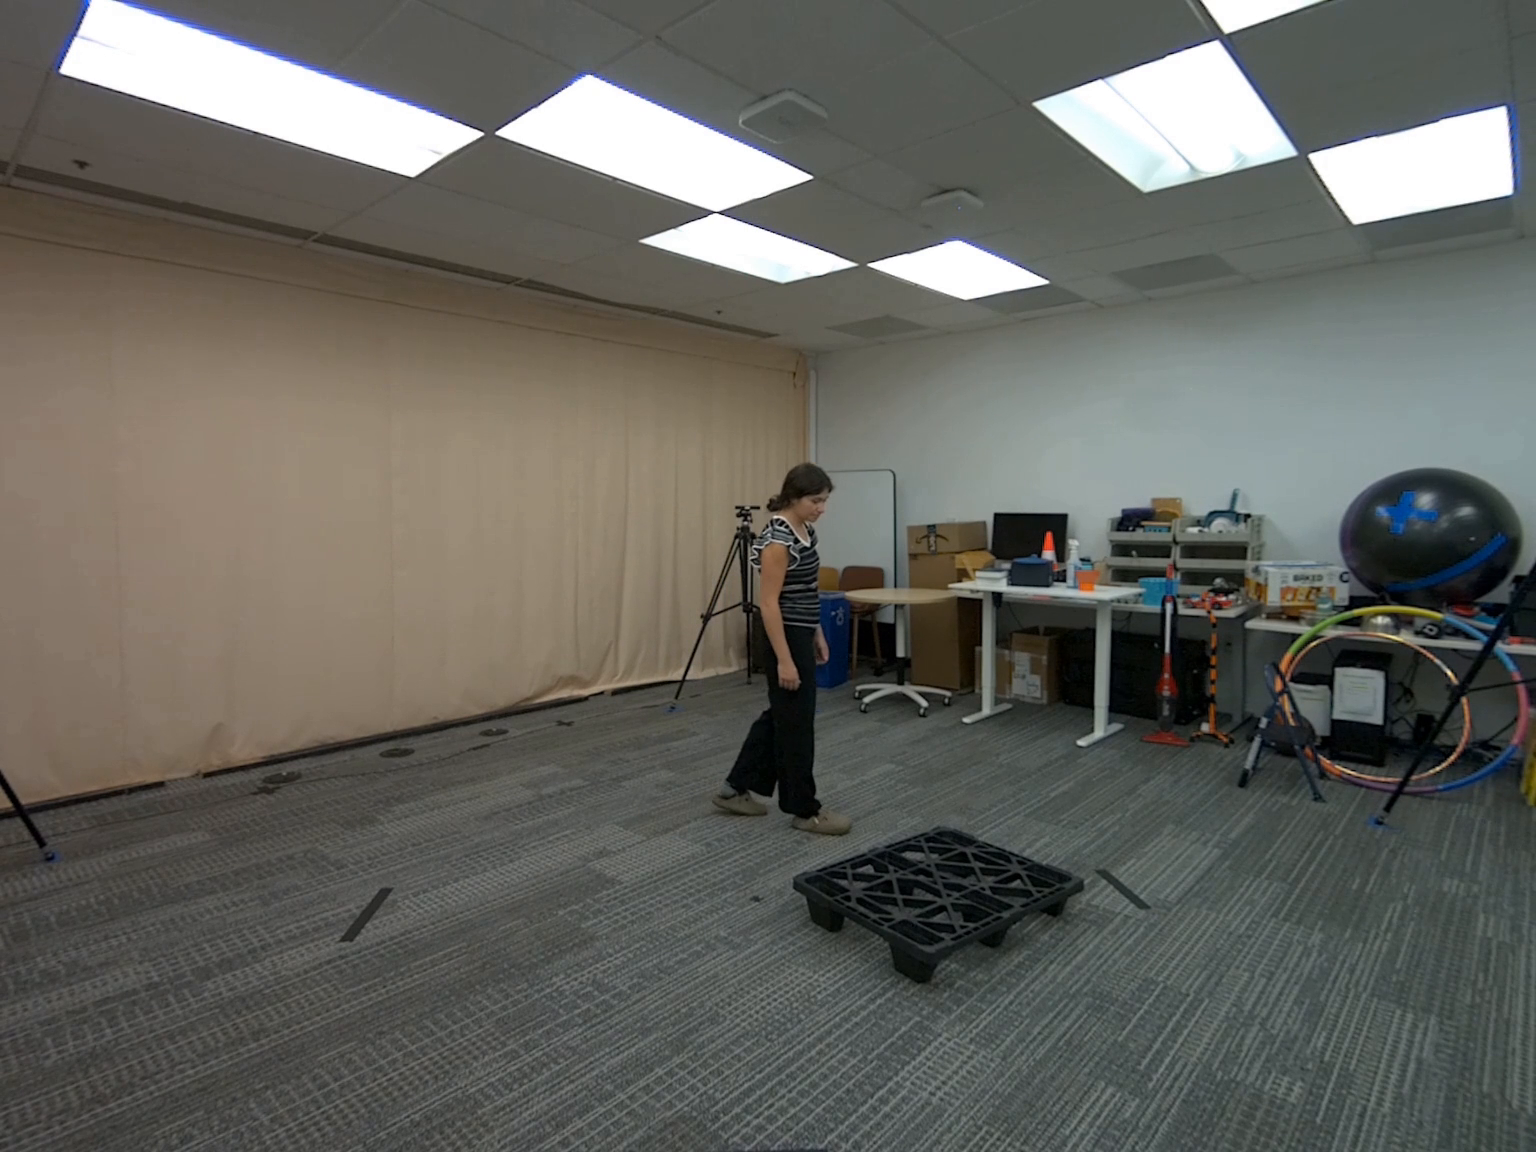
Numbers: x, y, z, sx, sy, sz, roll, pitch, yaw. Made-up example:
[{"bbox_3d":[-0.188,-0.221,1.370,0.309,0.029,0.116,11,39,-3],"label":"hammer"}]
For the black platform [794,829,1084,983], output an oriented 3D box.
[{"bbox_3d":[0.587,1.089,2.839,0.782,0.143,0.625,-4,7,-38],"label":"black platform"}]
